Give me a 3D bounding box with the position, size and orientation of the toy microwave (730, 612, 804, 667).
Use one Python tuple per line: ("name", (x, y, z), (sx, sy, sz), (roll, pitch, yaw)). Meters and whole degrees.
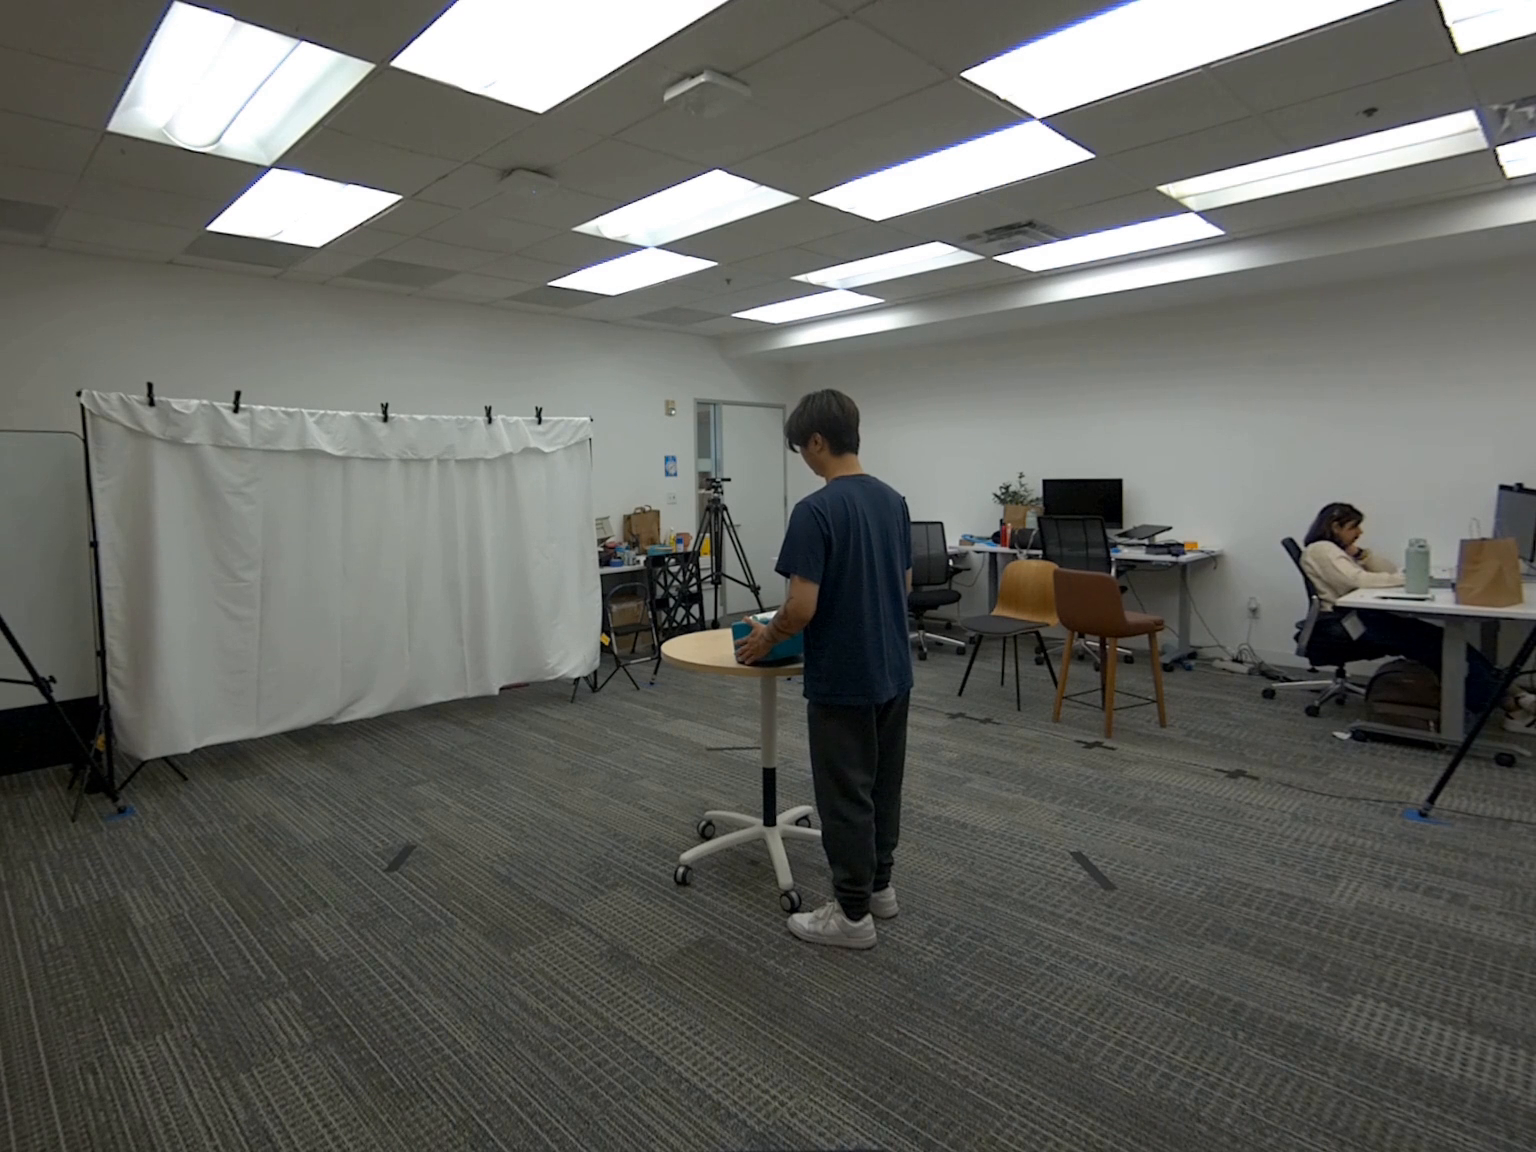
("toy microwave", (0.035, 0.189, 2.815), (0.188, 0.153, 0.278), (-9, -2, 43))
